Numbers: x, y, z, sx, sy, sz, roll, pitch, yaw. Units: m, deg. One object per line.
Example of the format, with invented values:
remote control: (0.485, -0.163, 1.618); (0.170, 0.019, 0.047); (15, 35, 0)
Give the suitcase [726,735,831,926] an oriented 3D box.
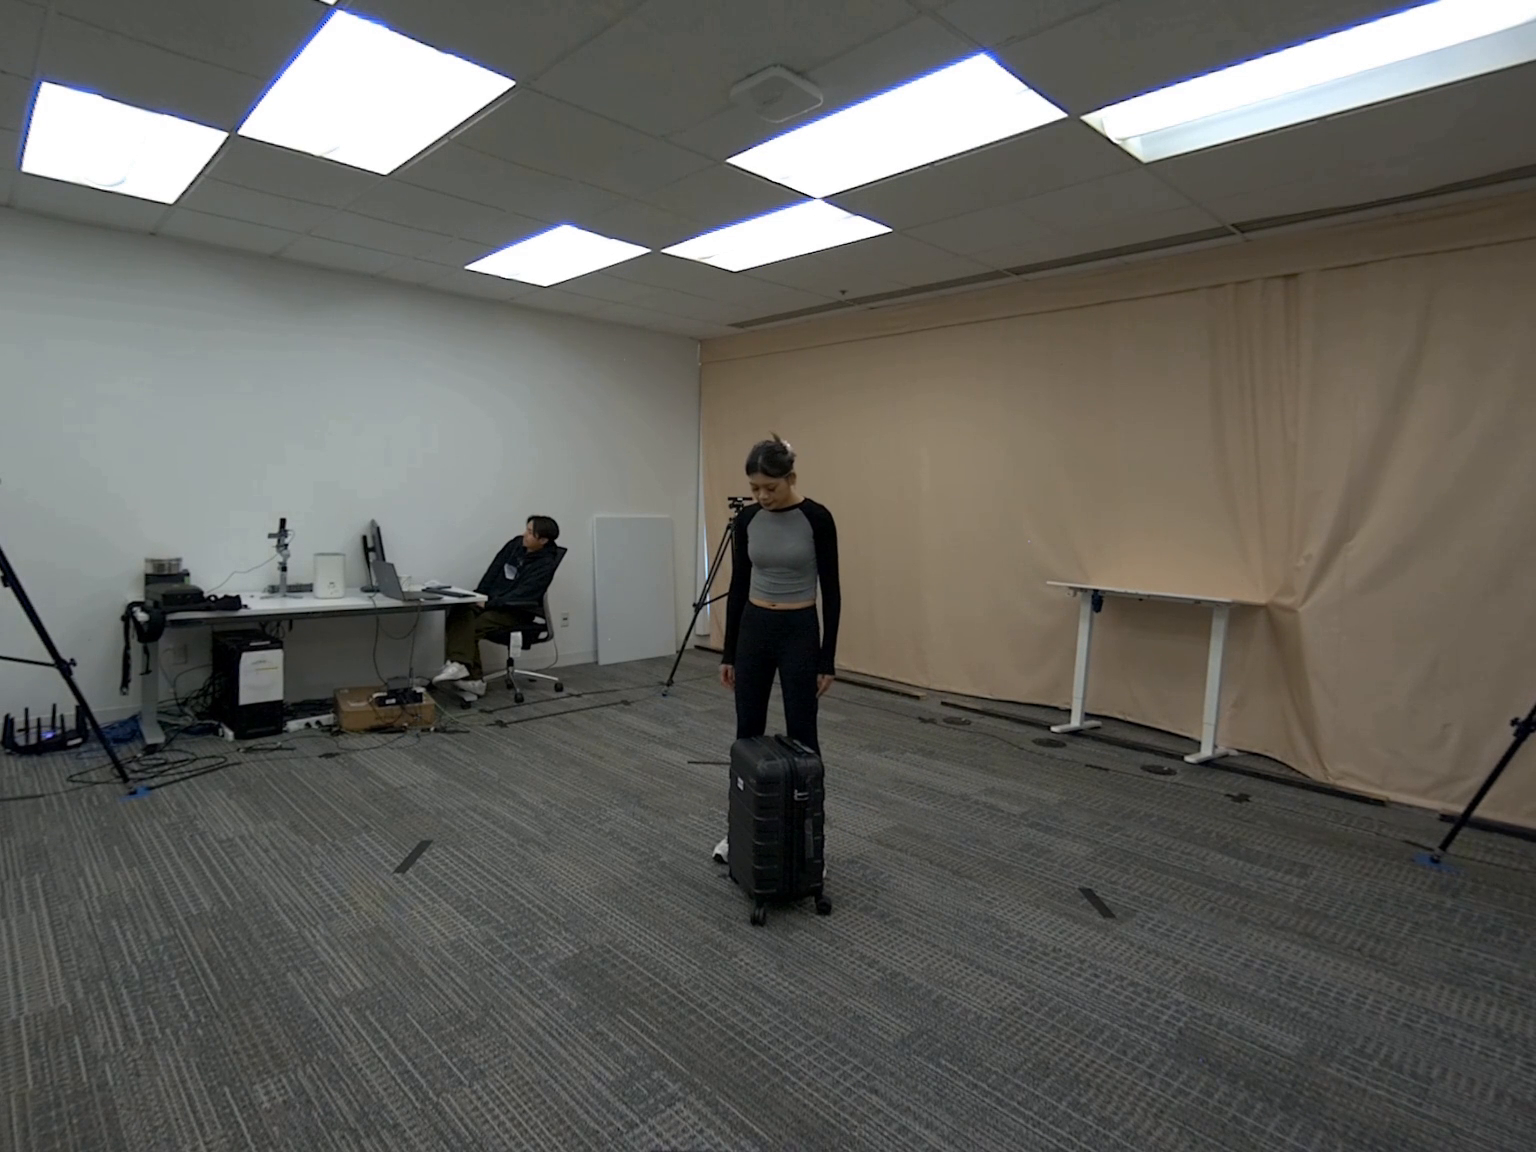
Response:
suitcase: (0.024, 0.850, 2.928); (0.245, 0.548, 0.382); (-1, 4, -19)
